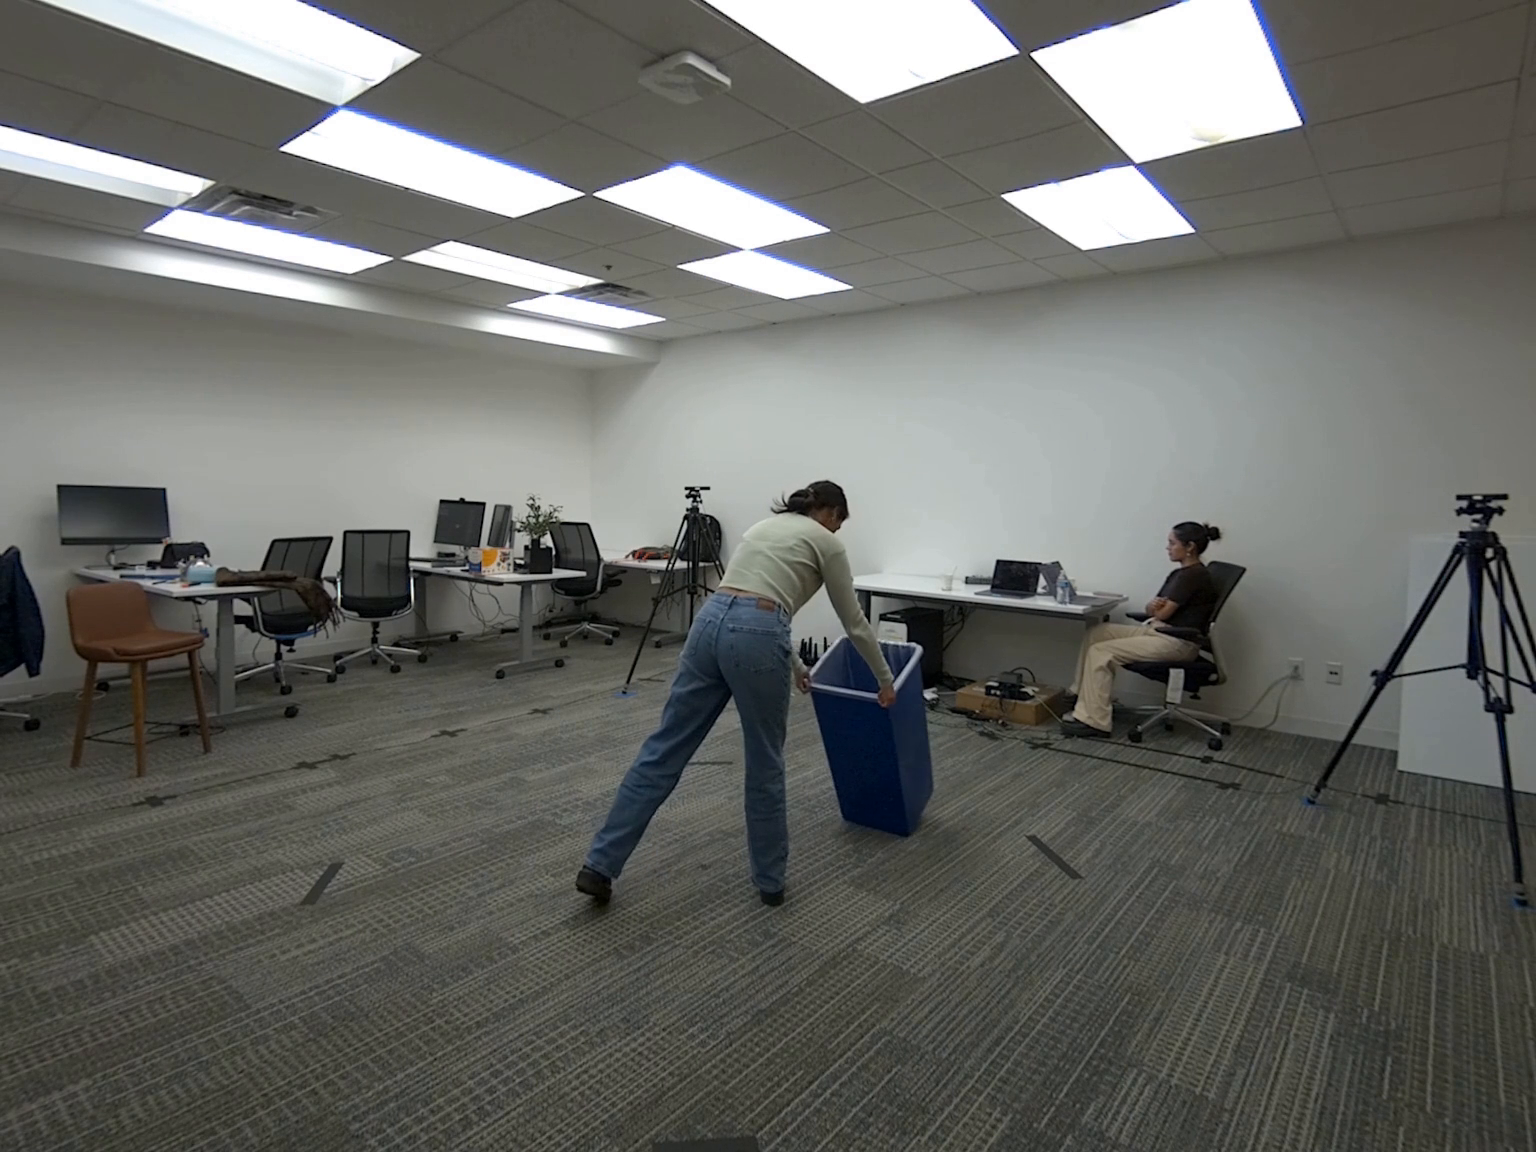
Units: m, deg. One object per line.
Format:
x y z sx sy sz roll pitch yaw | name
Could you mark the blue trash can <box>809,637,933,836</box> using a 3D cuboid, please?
0.425 0.655 3.462 0.390 0.696 0.372 4 28 34 | blue trash can
